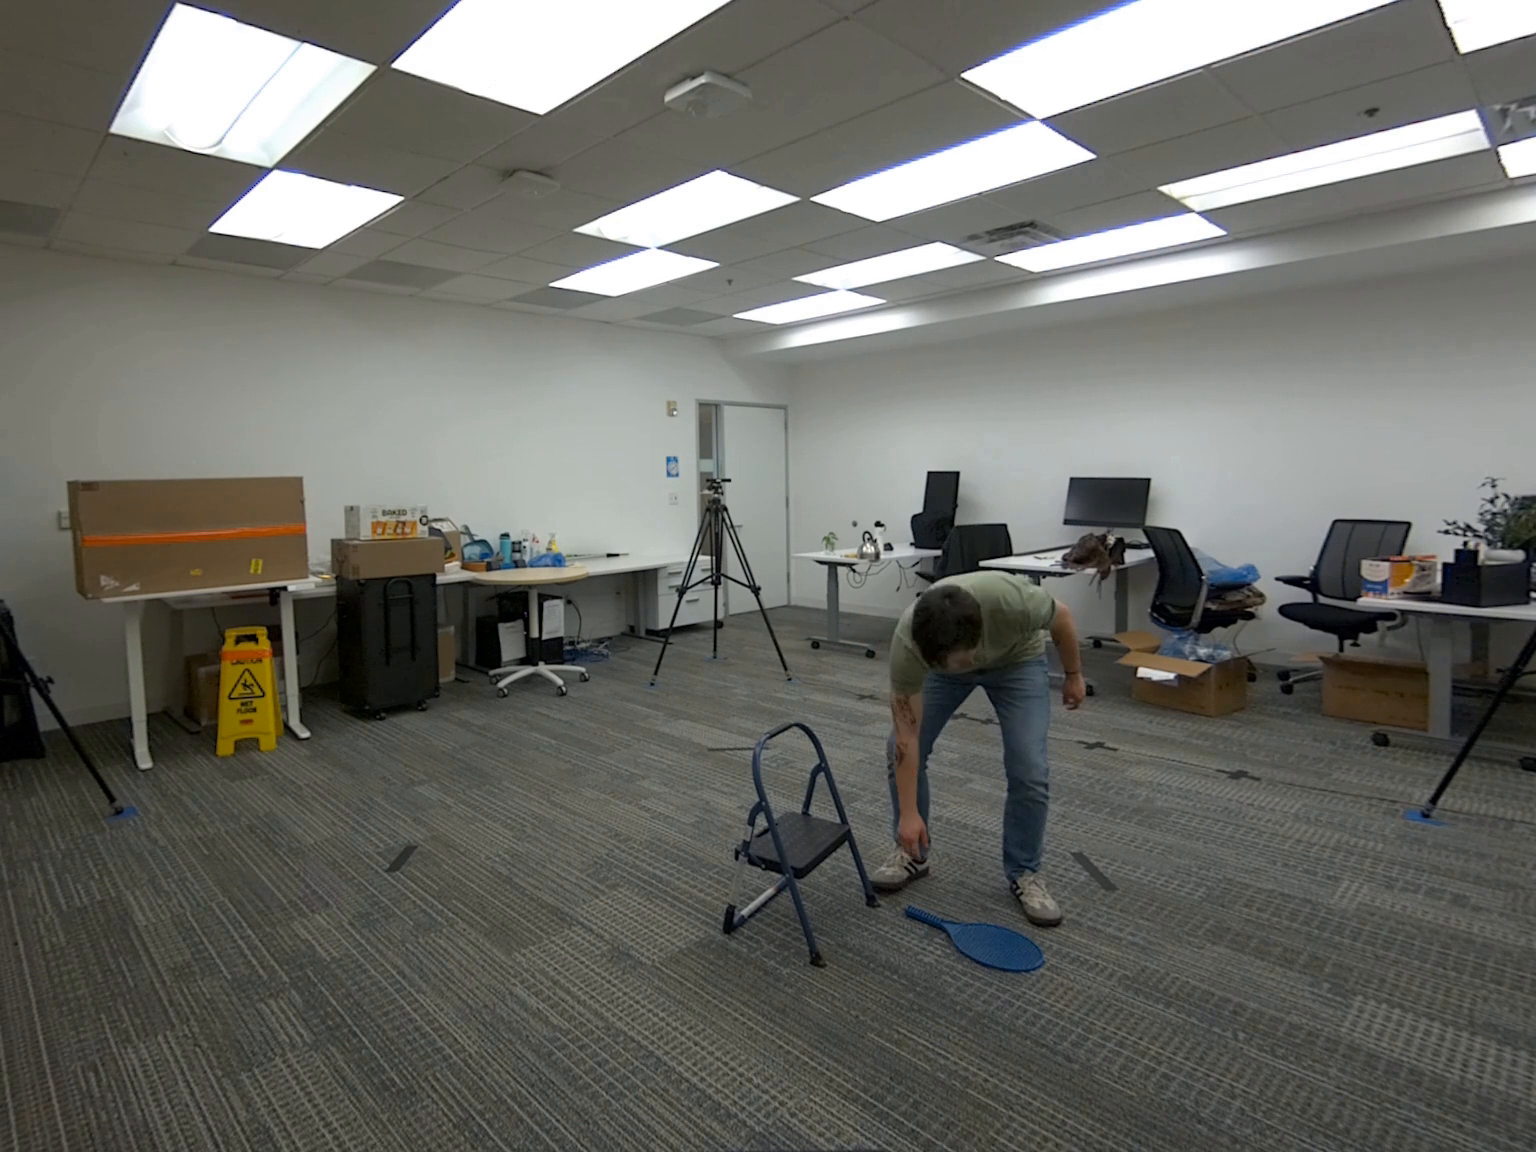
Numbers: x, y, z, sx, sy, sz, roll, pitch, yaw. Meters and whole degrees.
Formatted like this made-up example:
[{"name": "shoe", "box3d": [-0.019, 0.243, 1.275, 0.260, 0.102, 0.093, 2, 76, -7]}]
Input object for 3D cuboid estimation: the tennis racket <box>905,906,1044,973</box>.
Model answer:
[{"name": "tennis racket", "box3d": [0.606, 1.067, 2.584, 0.447, 0.031, 0.208, 7, 10, 43]}]
